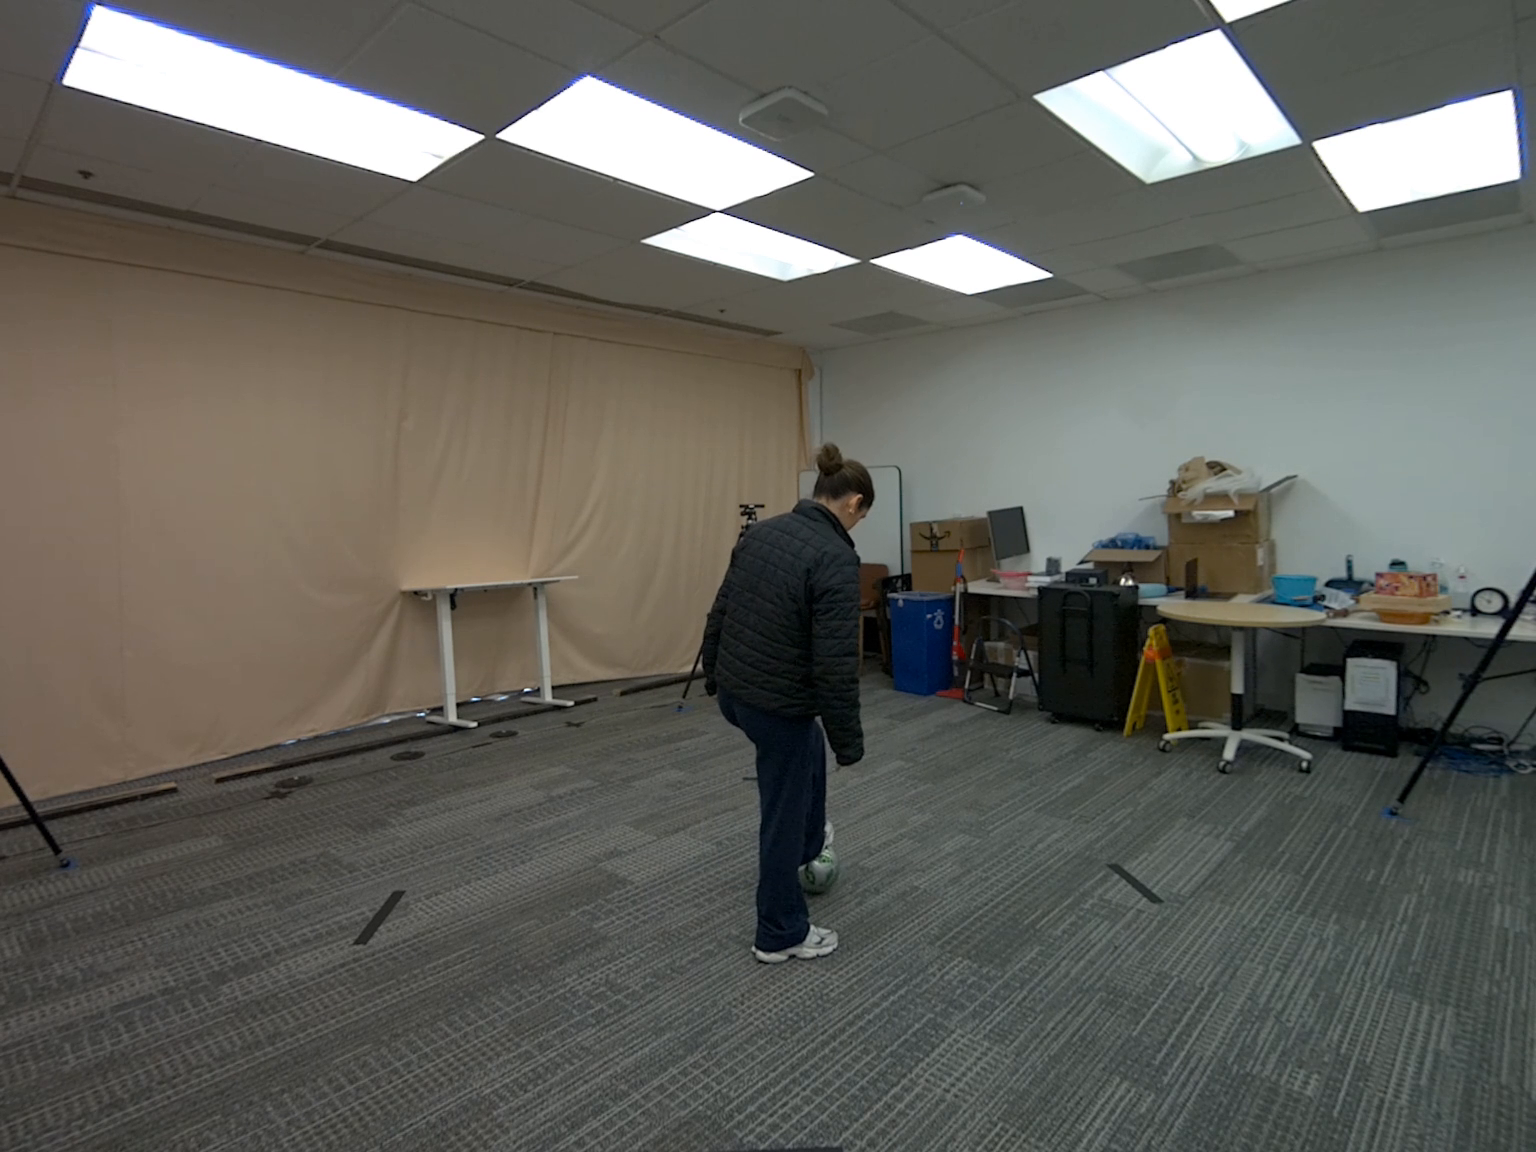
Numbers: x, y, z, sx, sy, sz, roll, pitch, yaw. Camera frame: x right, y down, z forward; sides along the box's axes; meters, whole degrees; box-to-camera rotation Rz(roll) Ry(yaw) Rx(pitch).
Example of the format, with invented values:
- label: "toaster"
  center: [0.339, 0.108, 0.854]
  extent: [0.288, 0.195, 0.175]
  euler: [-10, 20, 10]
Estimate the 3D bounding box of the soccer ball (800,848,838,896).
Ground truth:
- label: "soccer ball"
  center: [0.163, 1.038, 3.028]
  extent: [0.187, 0.187, 0.188]
  euler: [-1, 4, -2]
